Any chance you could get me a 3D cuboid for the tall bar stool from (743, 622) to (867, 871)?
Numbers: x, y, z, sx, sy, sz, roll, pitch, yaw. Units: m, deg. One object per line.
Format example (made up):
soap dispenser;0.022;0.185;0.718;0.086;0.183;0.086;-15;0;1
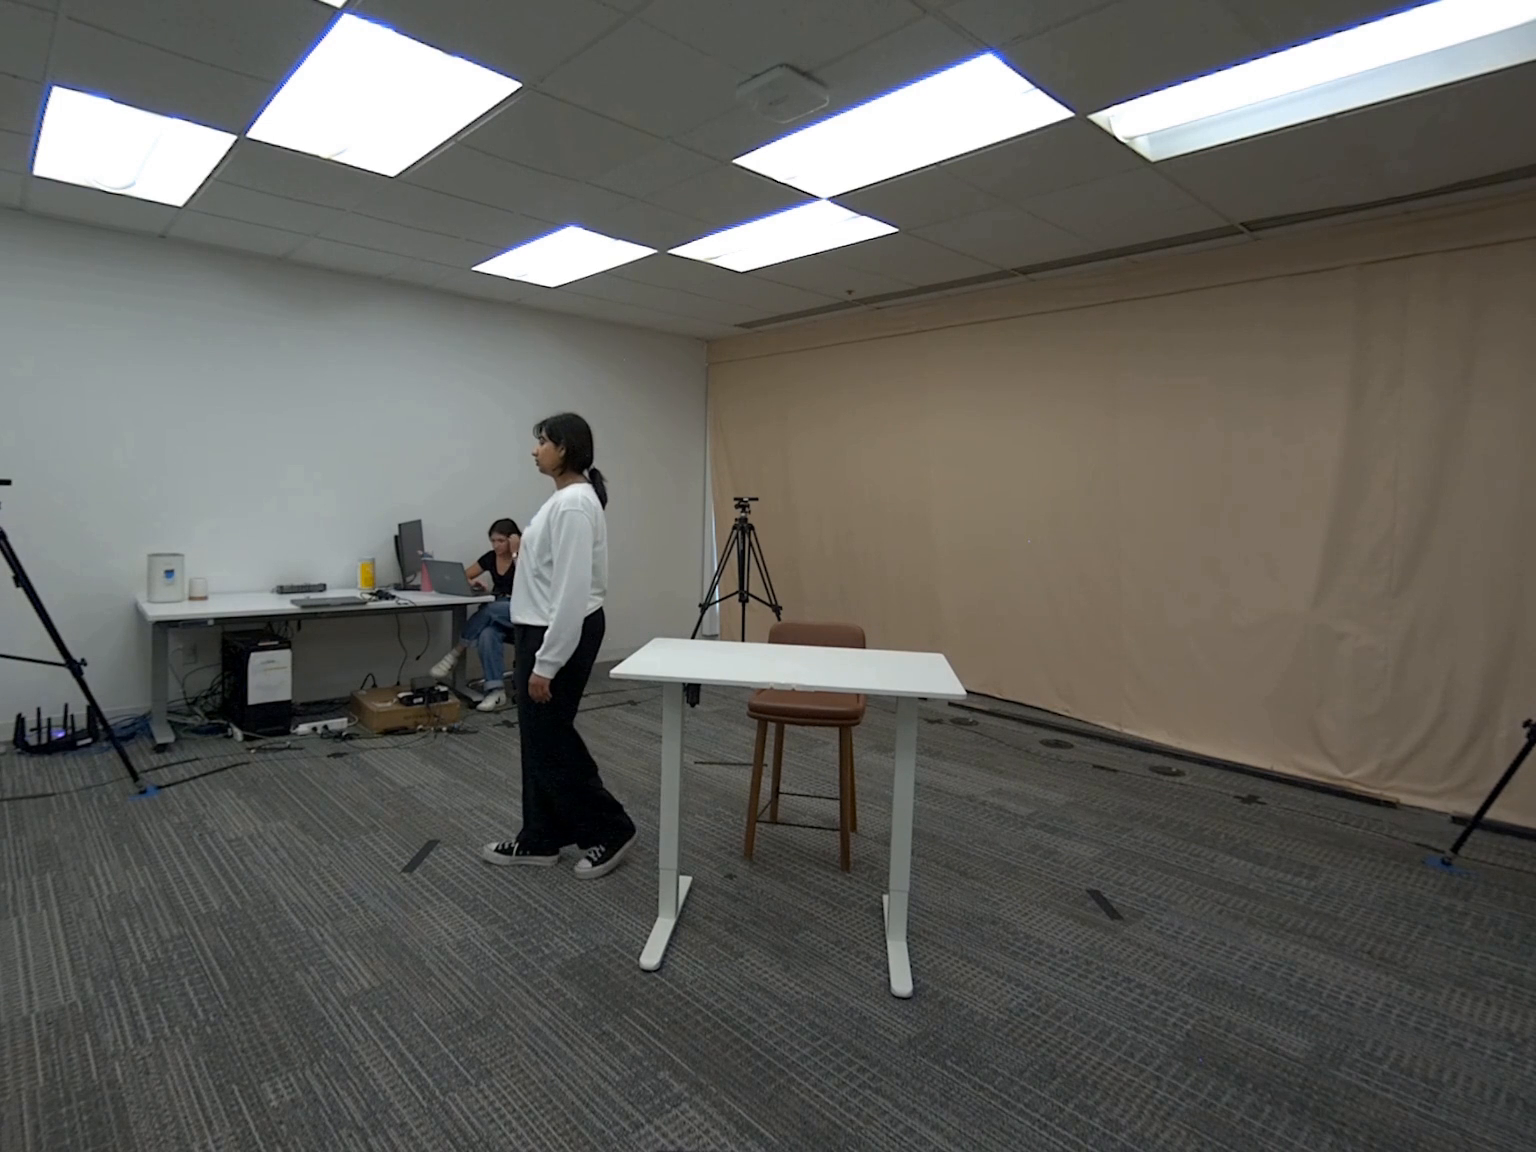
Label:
tall bar stool;0.152;0.655;3.401;0.462;0.889;0.462;2;1;14
